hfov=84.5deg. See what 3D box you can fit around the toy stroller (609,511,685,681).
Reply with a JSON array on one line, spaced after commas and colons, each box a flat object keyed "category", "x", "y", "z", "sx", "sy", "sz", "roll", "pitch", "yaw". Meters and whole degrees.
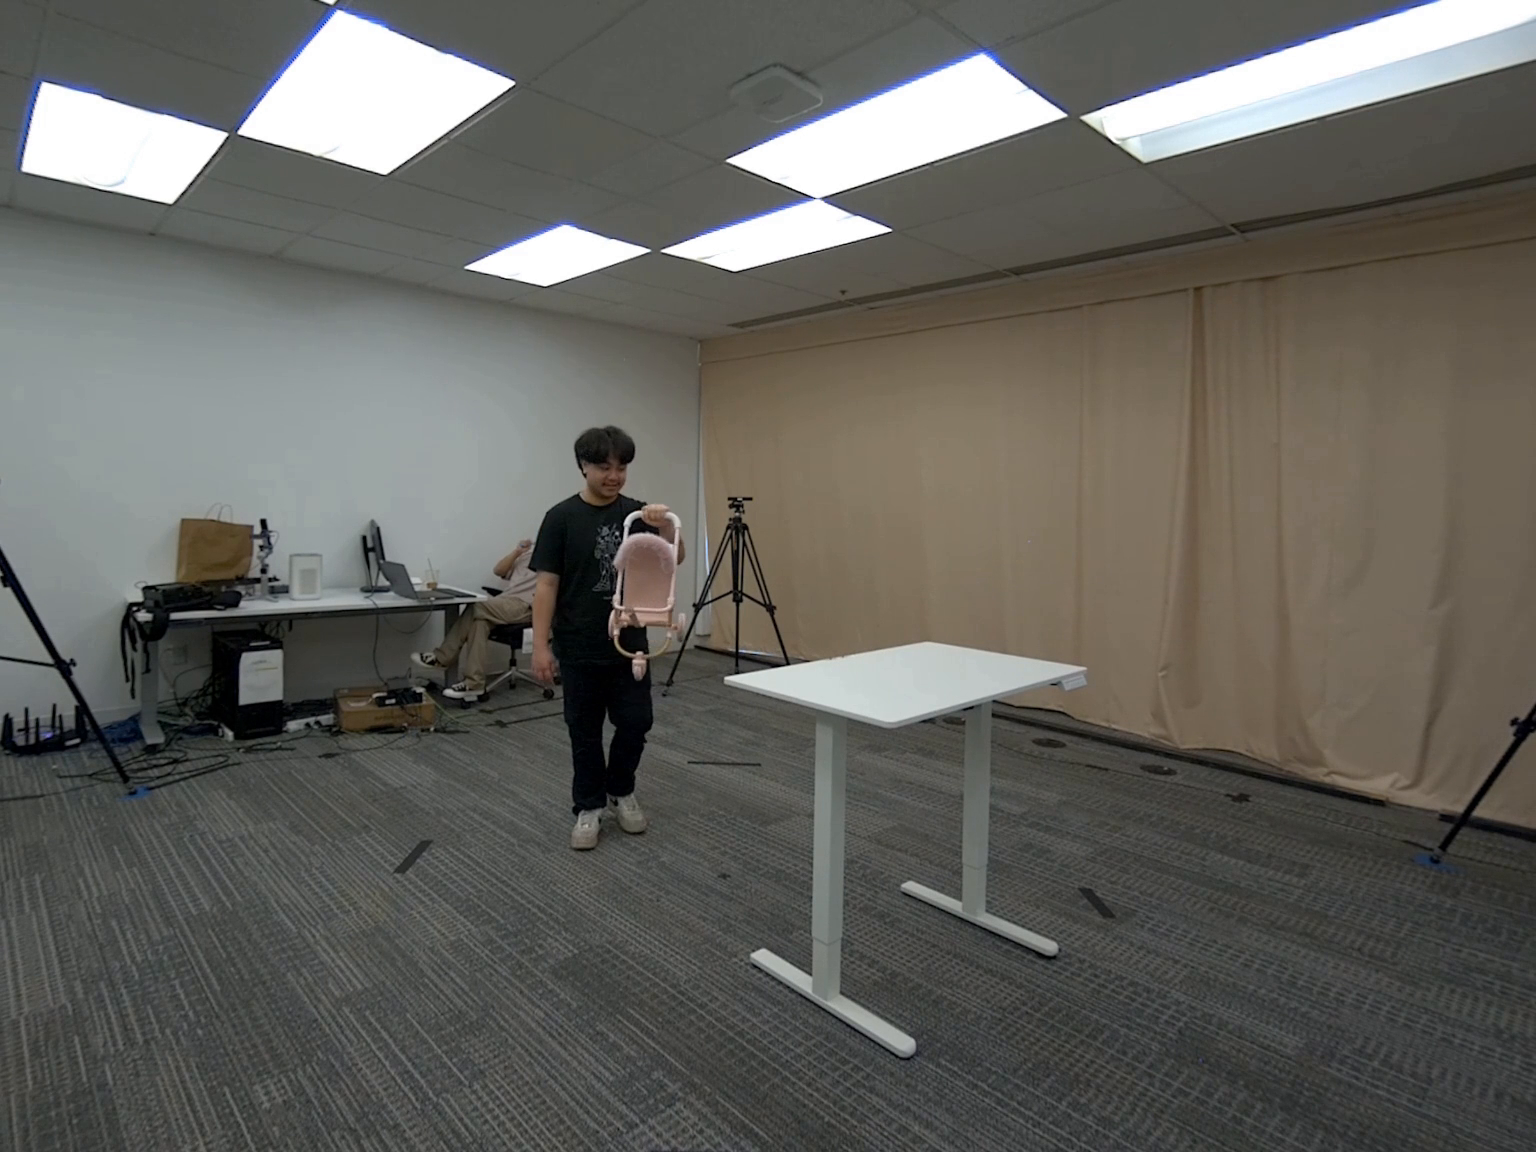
[{"category": "toy stroller", "x": -0.441, "y": 0.070, "z": 2.991, "sx": 0.282, "sy": 0.529, "sz": 0.344, "roll": 4, "pitch": 15, "yaw": 2}]
